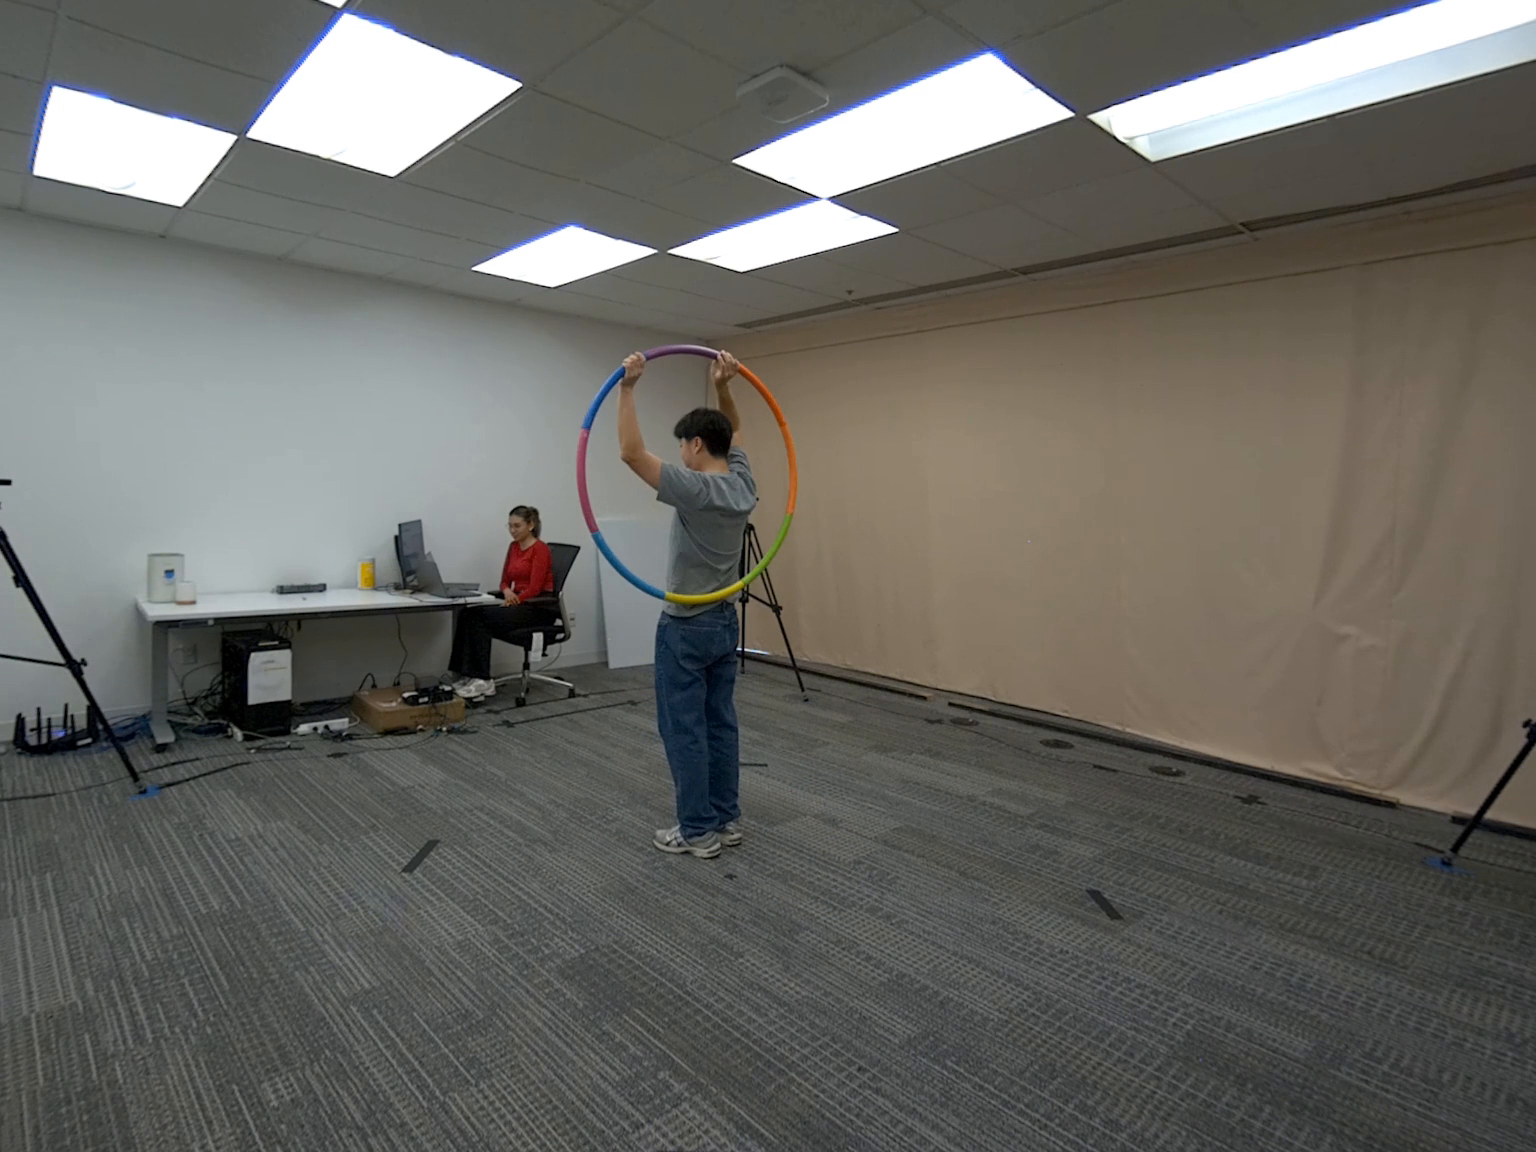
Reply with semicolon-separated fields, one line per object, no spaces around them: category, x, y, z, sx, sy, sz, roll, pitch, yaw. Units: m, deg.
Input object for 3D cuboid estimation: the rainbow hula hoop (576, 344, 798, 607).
rainbow hula hoop;-0.282;-0.387;3.209;0.957;0.978;0.036;-2;1;-36
